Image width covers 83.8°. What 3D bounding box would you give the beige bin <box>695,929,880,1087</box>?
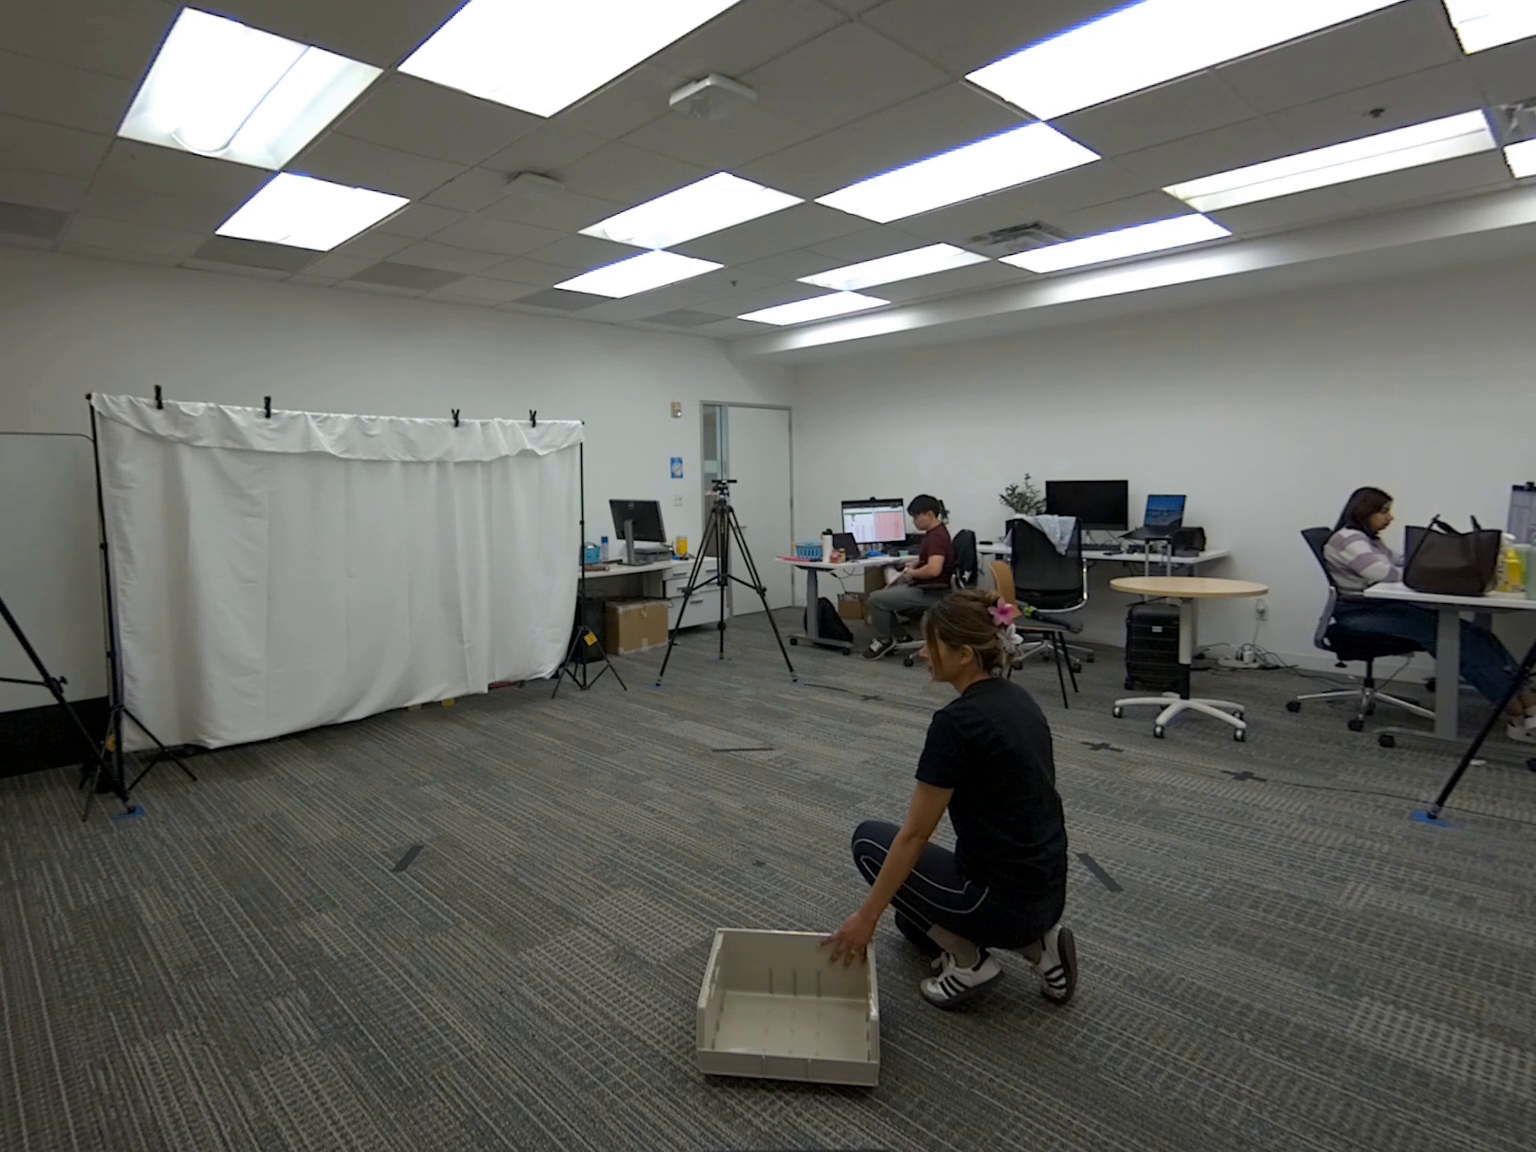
[{"bbox_3d":[0.066,1.076,2.111,0.425,0.188,0.376,-1,5,6],"label":"beige bin"}]
